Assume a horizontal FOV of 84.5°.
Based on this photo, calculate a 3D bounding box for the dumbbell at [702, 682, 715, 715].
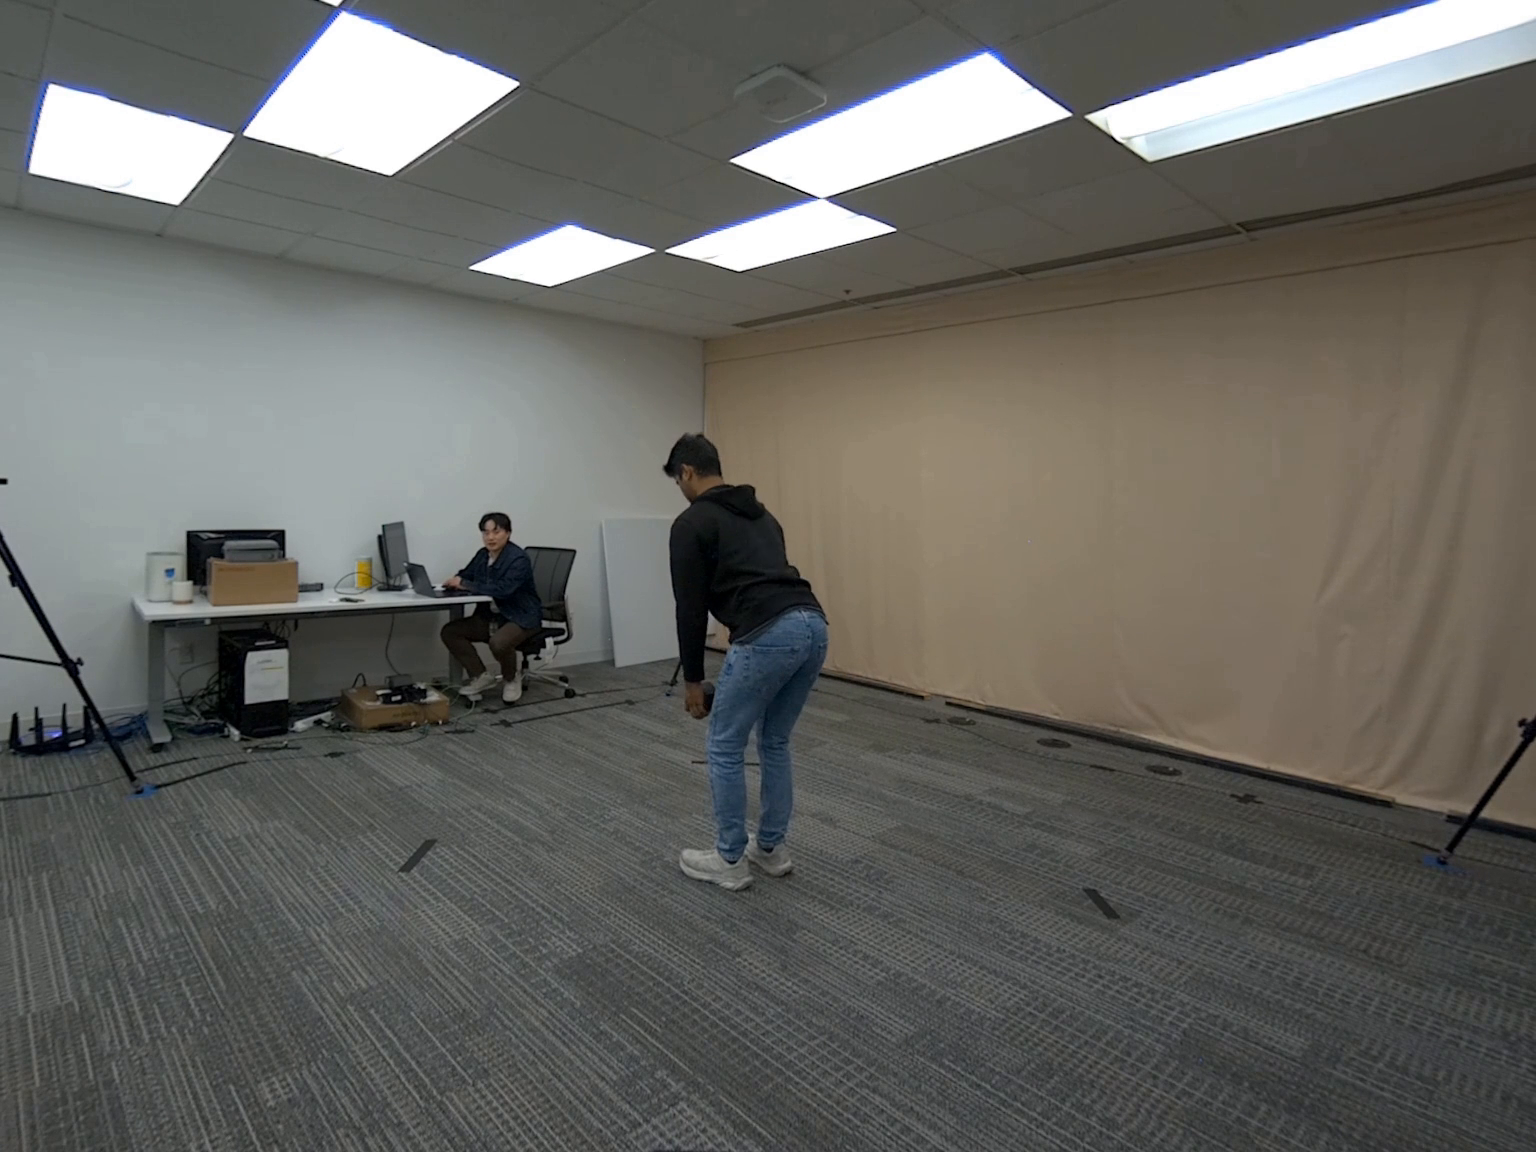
[{"bbox_3d":[-0.158,0.464,3.191,0.287,0.108,0.127,-1,33,-40],"label":"dumbbell"}]
